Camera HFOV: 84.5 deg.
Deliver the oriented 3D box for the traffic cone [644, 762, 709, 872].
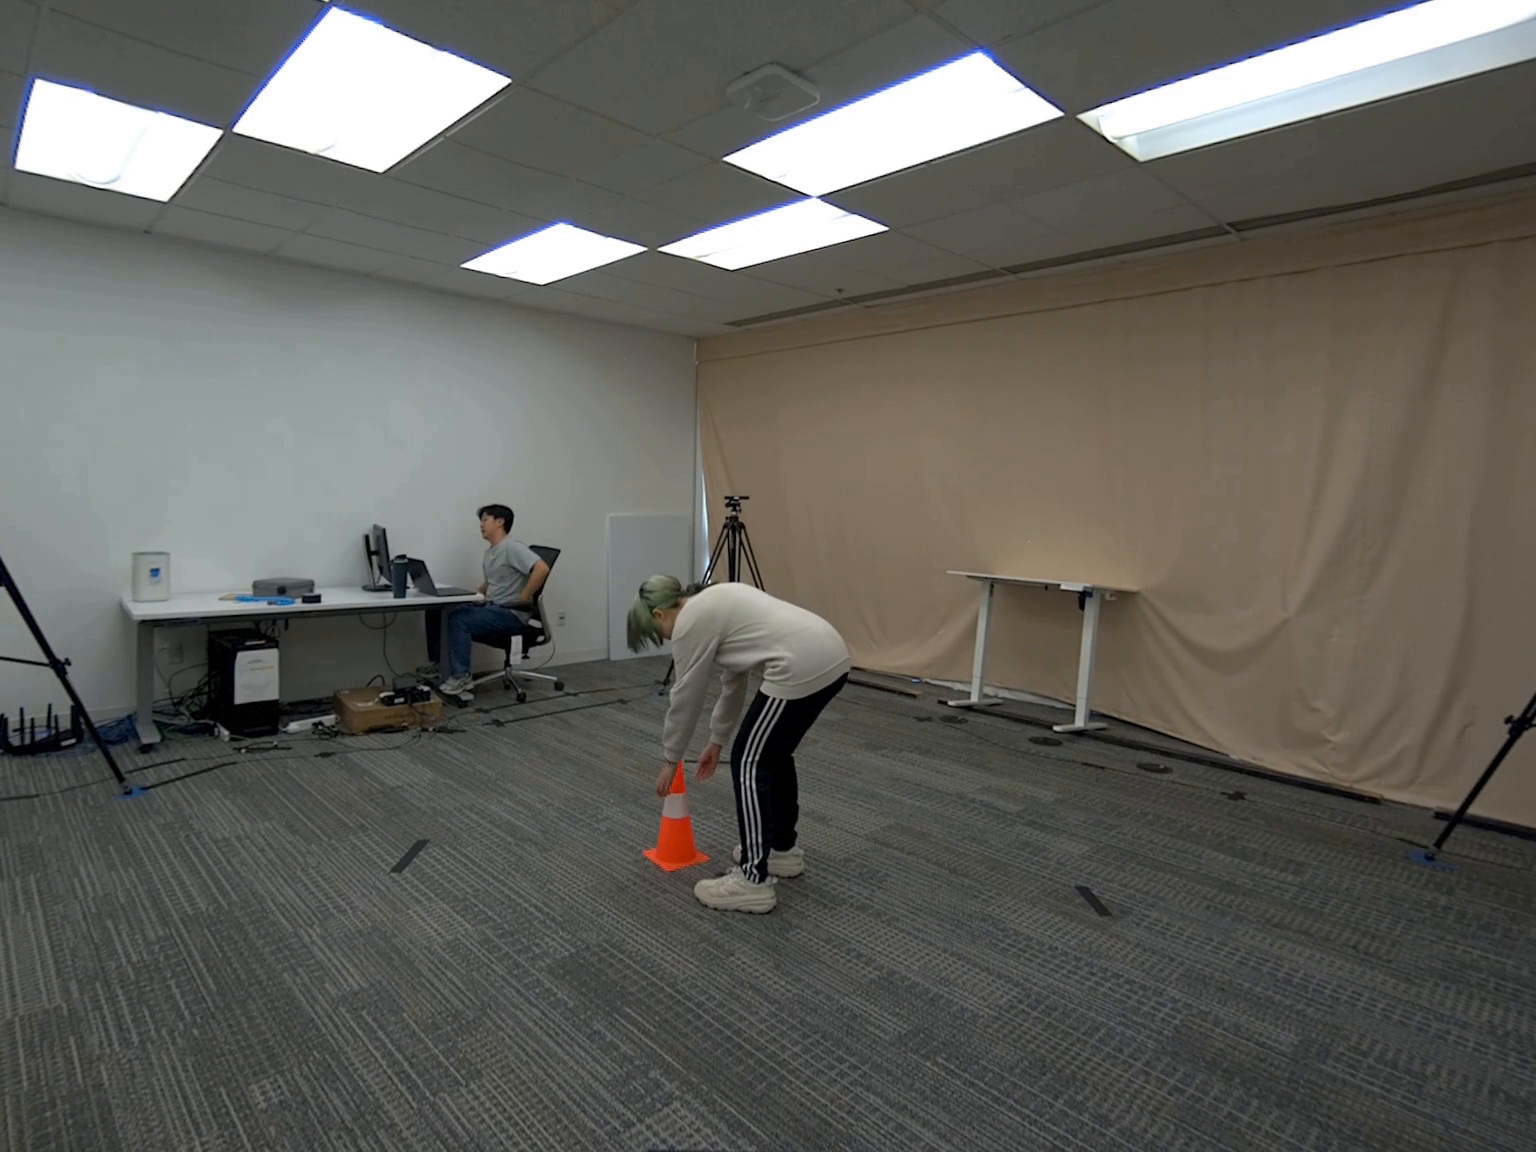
[{"bbox_3d":[-0.359,0.902,3.248,0.201,0.383,0.208,1,4,-29],"label":"traffic cone"}]
